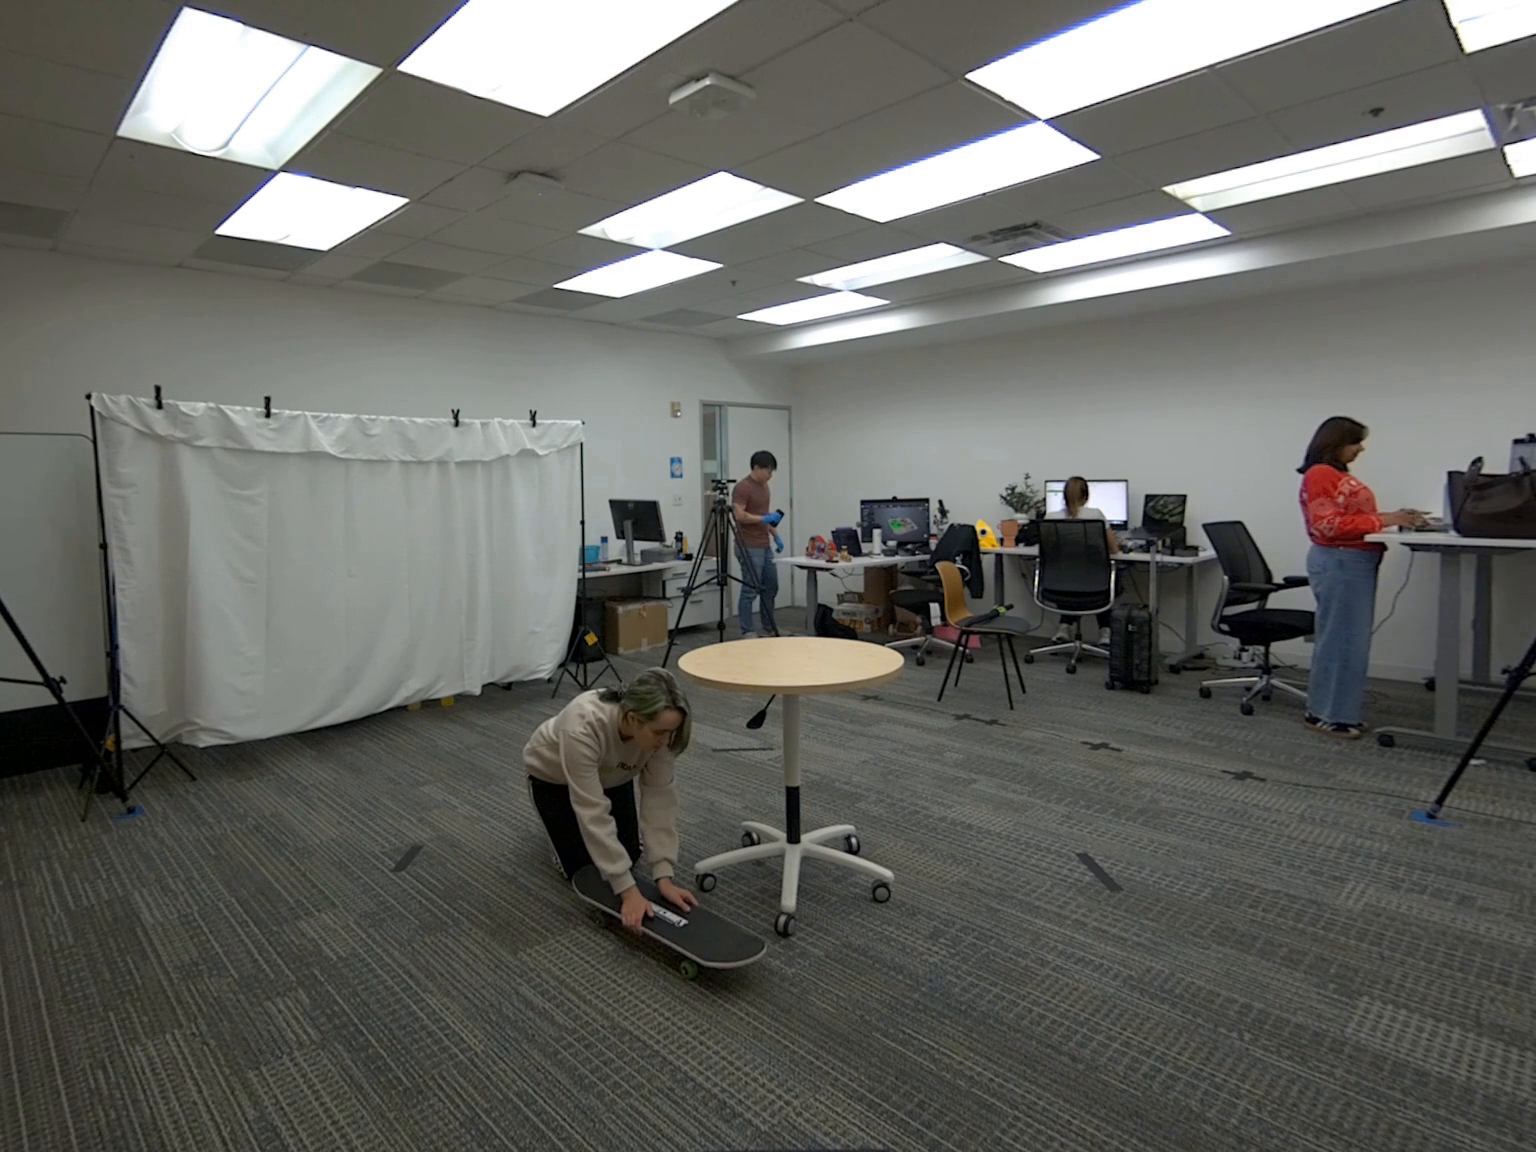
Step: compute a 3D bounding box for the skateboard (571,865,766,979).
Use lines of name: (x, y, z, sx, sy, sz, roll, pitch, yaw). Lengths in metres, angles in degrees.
skateboard: (-0.323, 1.058, 2.595, 0.810, 0.110, 0.188, 5, 9, 44)
